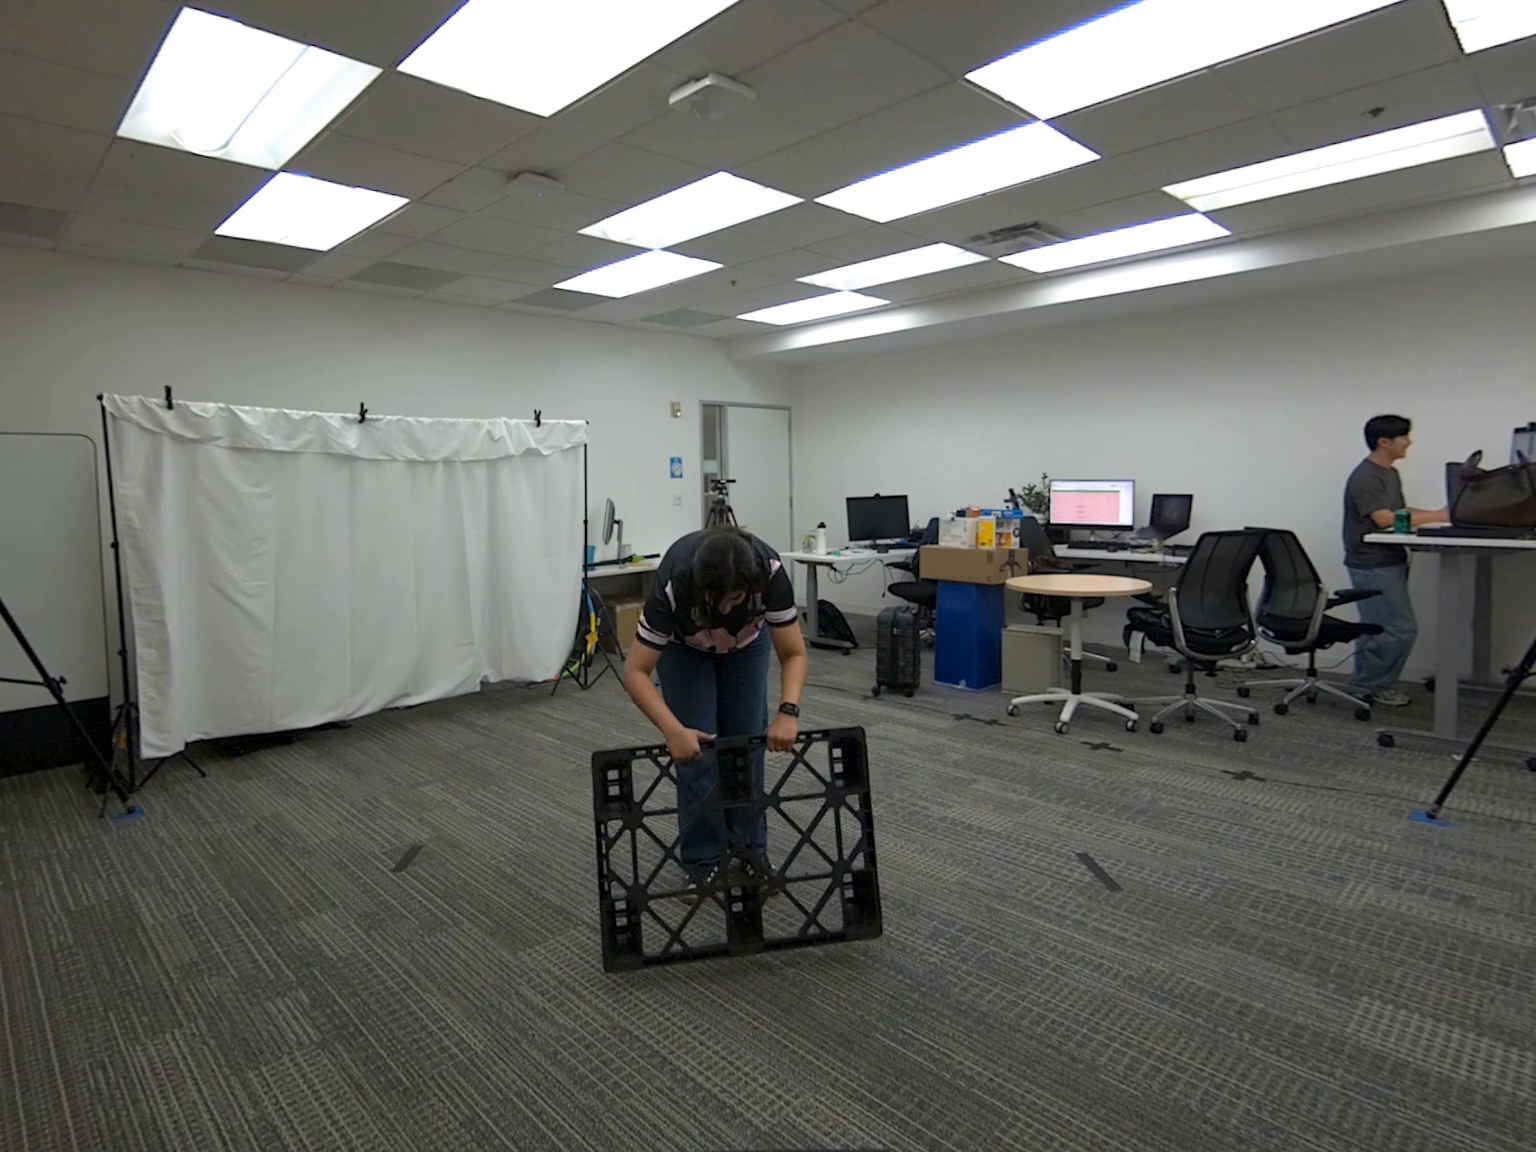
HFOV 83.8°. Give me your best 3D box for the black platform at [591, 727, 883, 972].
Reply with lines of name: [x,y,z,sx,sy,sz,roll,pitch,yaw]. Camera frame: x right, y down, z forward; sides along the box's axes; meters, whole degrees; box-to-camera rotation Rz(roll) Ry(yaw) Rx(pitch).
black platform: [-0.084,0.776,2.473,0.799,0.608,0.144,-3,-5,-8]
